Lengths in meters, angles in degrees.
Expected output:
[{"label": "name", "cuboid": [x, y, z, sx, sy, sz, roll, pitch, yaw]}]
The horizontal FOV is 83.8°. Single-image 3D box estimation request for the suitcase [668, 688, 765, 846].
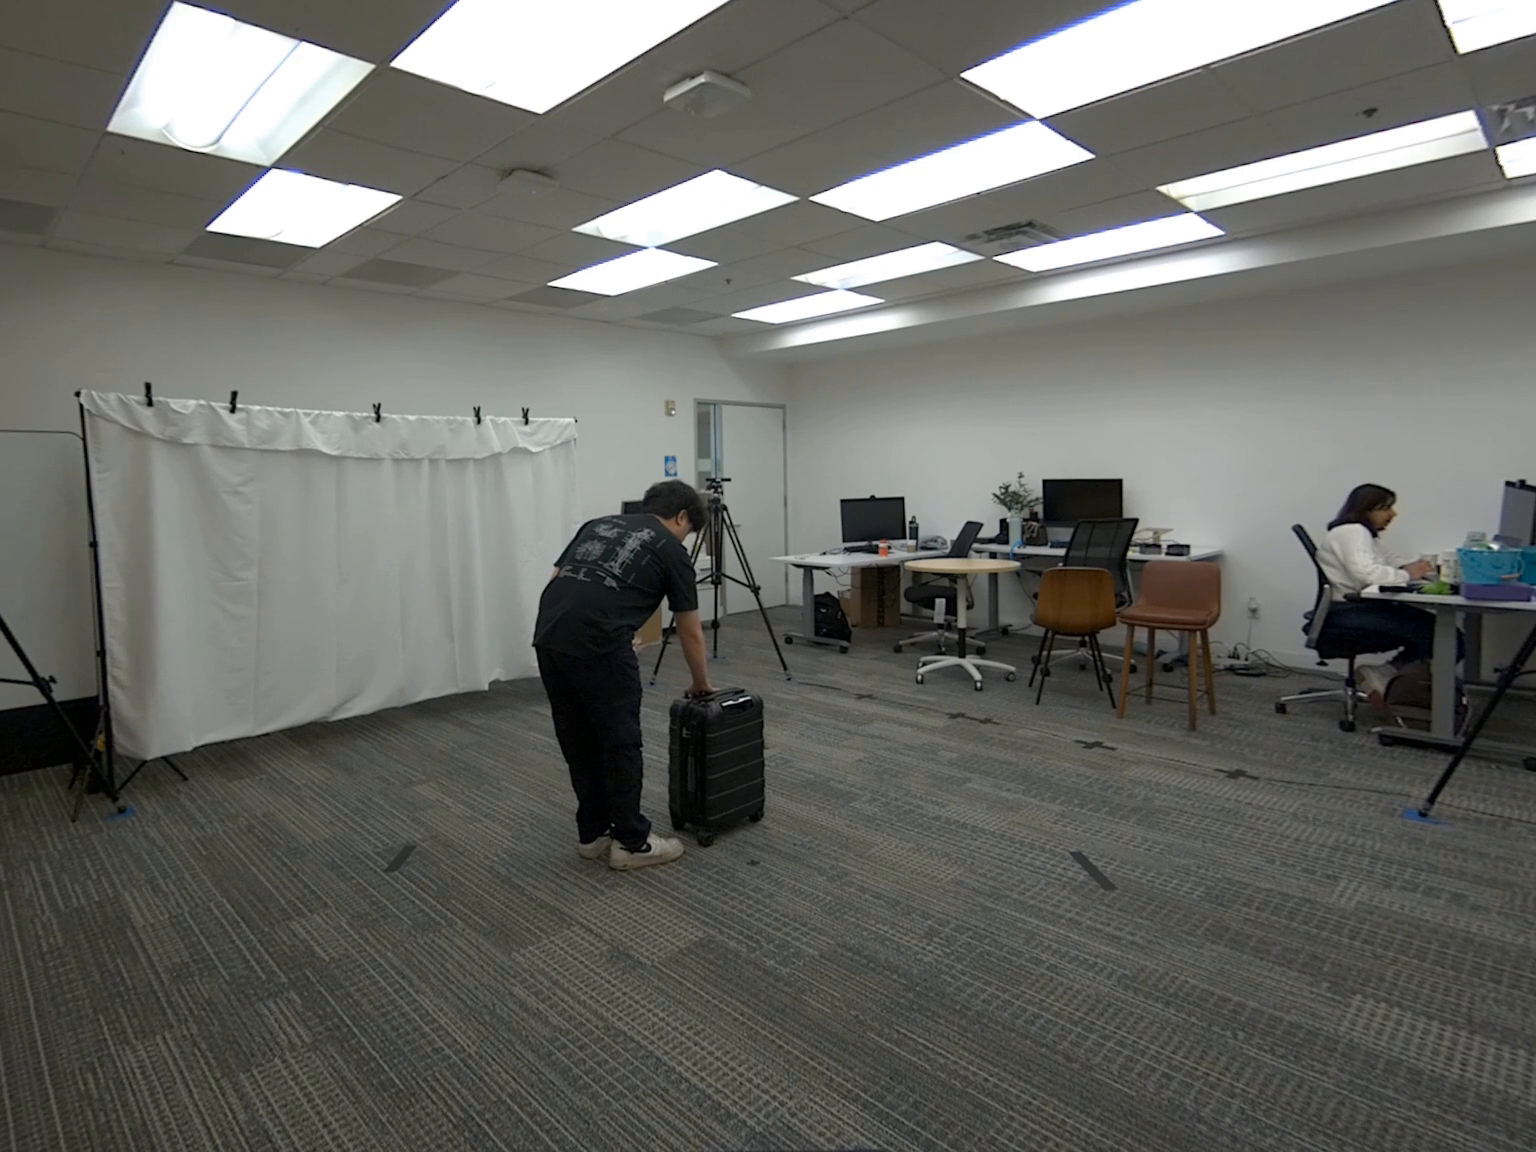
[{"label": "suitcase", "cuboid": [-0.202, 0.731, 3.433, 0.256, 0.547, 0.366, 4, 7, 43]}]
